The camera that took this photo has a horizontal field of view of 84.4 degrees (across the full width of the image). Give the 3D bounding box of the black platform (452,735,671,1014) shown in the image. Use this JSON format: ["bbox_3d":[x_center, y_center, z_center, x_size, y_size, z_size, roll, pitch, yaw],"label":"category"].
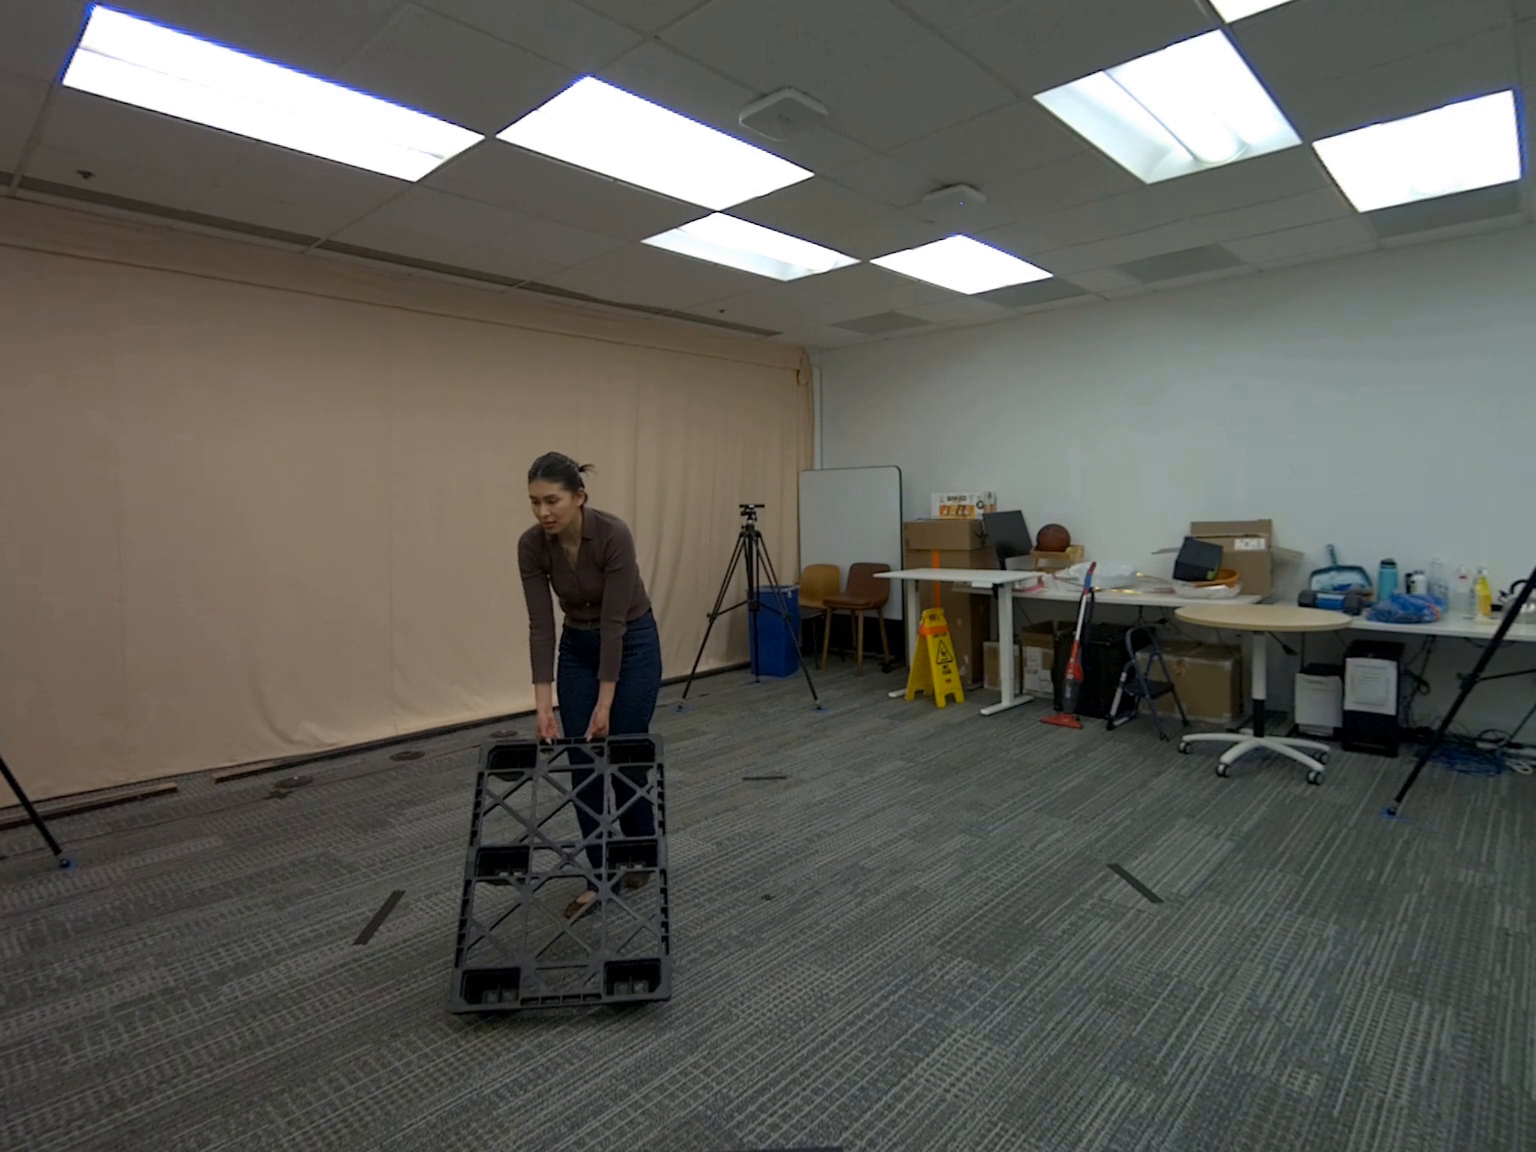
[{"bbox_3d":[-0.603,0.875,2.560,0.601,0.823,0.141,-2,-39,-6],"label":"black platform"}]
